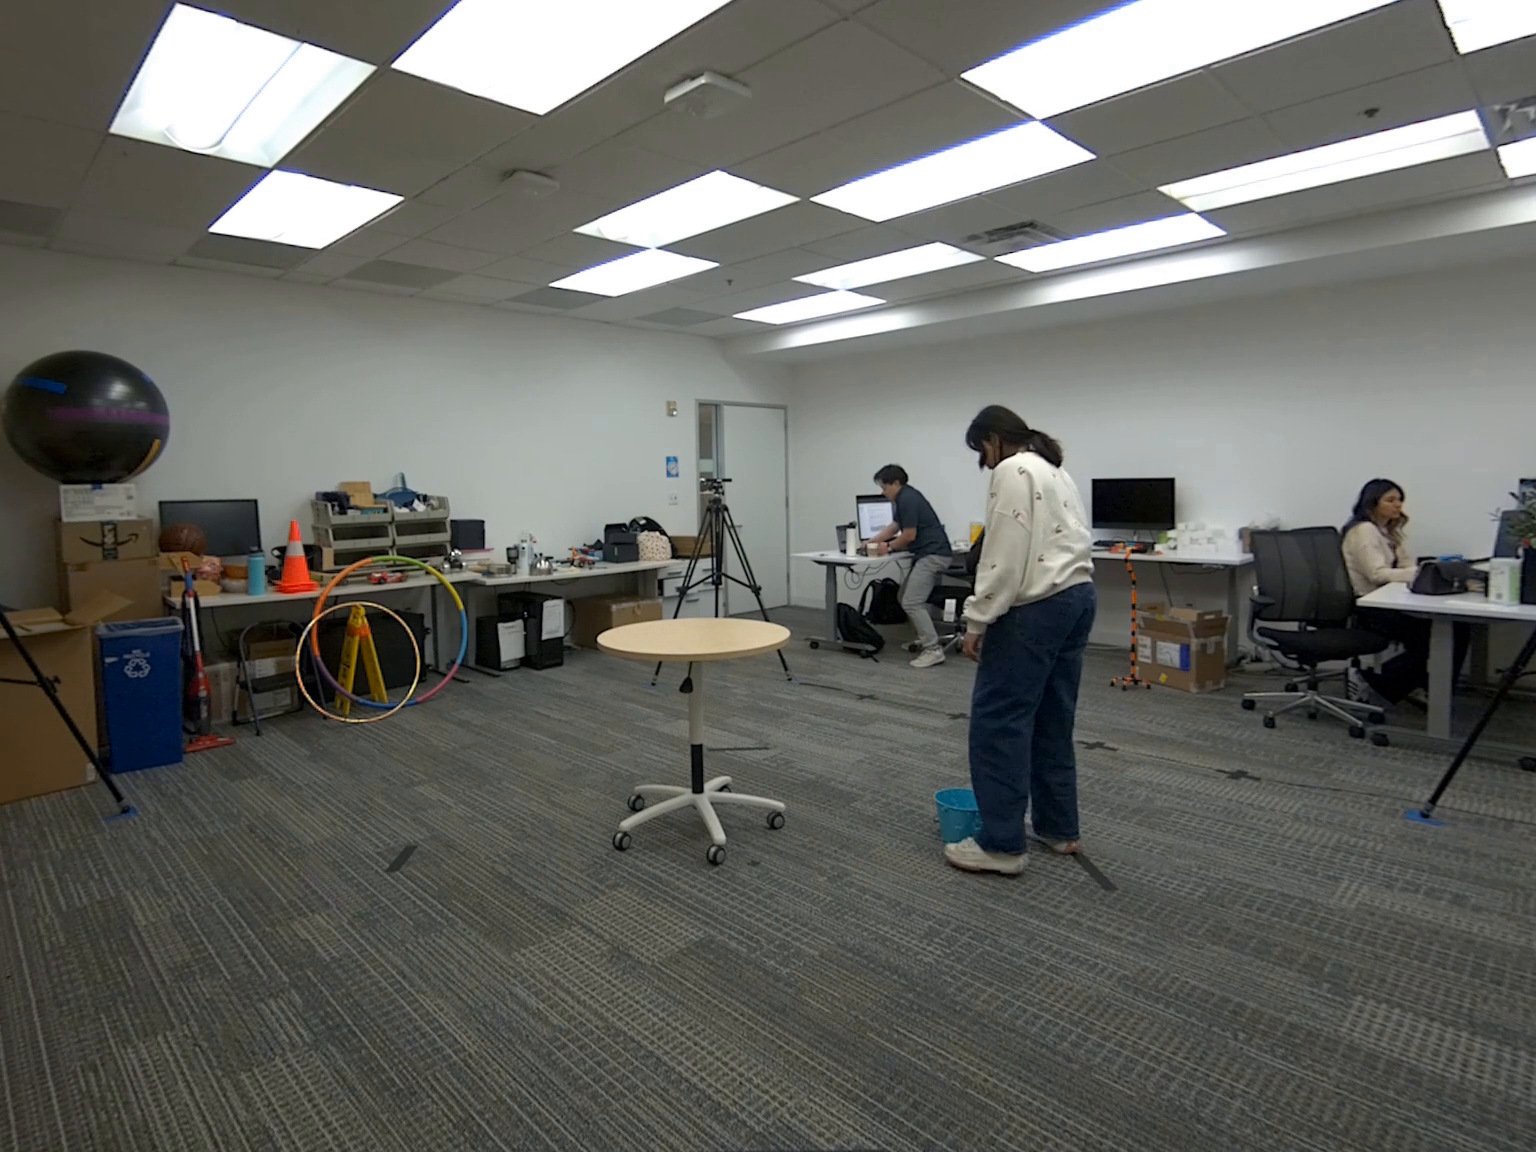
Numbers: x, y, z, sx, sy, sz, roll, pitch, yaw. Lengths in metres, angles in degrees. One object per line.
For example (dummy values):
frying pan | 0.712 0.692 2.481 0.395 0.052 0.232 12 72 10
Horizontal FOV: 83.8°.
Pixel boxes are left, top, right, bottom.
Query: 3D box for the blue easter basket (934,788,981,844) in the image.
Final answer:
blue easter basket | 0.769 0.933 3.299 0.243 0.155 0.245 -1 5 -2
